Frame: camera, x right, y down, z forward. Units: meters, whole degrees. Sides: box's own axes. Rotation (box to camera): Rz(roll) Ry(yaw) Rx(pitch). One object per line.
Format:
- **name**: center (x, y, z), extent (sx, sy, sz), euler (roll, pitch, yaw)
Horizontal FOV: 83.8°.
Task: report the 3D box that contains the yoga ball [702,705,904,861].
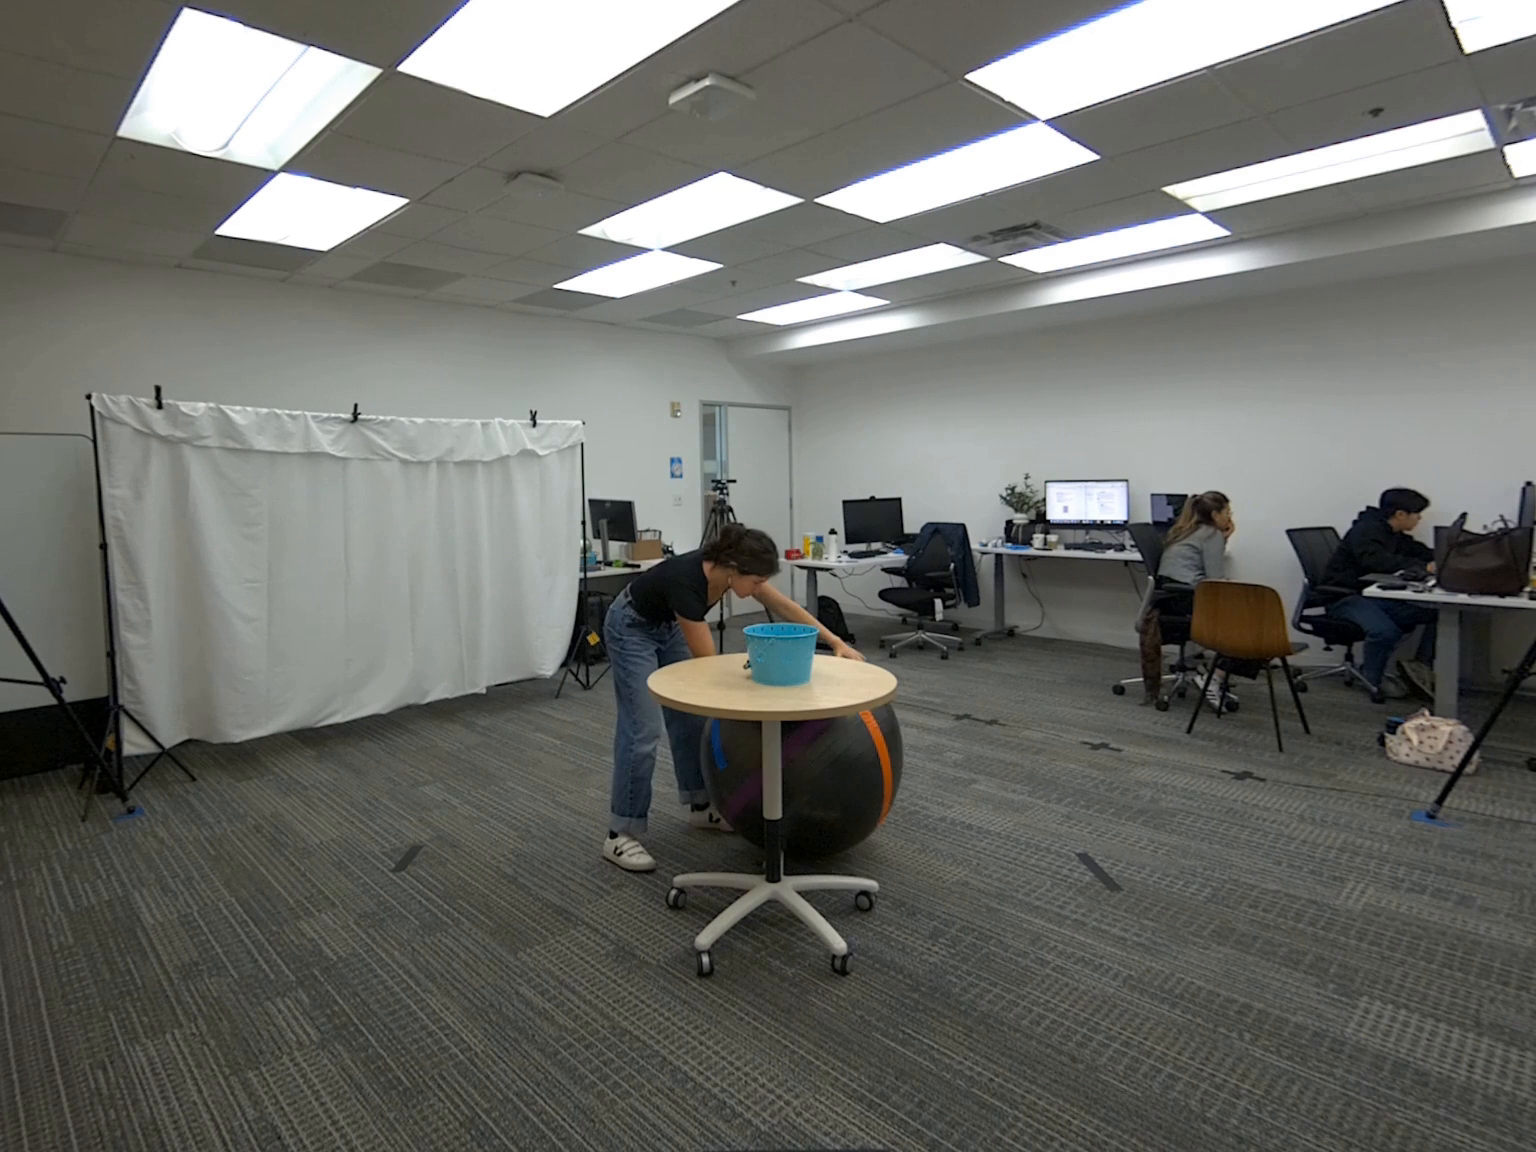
- **yoga ball**: center (0.130, 0.656, 3.200), extent (0.757, 0.755, 0.762), euler (-1, 5, -2)
